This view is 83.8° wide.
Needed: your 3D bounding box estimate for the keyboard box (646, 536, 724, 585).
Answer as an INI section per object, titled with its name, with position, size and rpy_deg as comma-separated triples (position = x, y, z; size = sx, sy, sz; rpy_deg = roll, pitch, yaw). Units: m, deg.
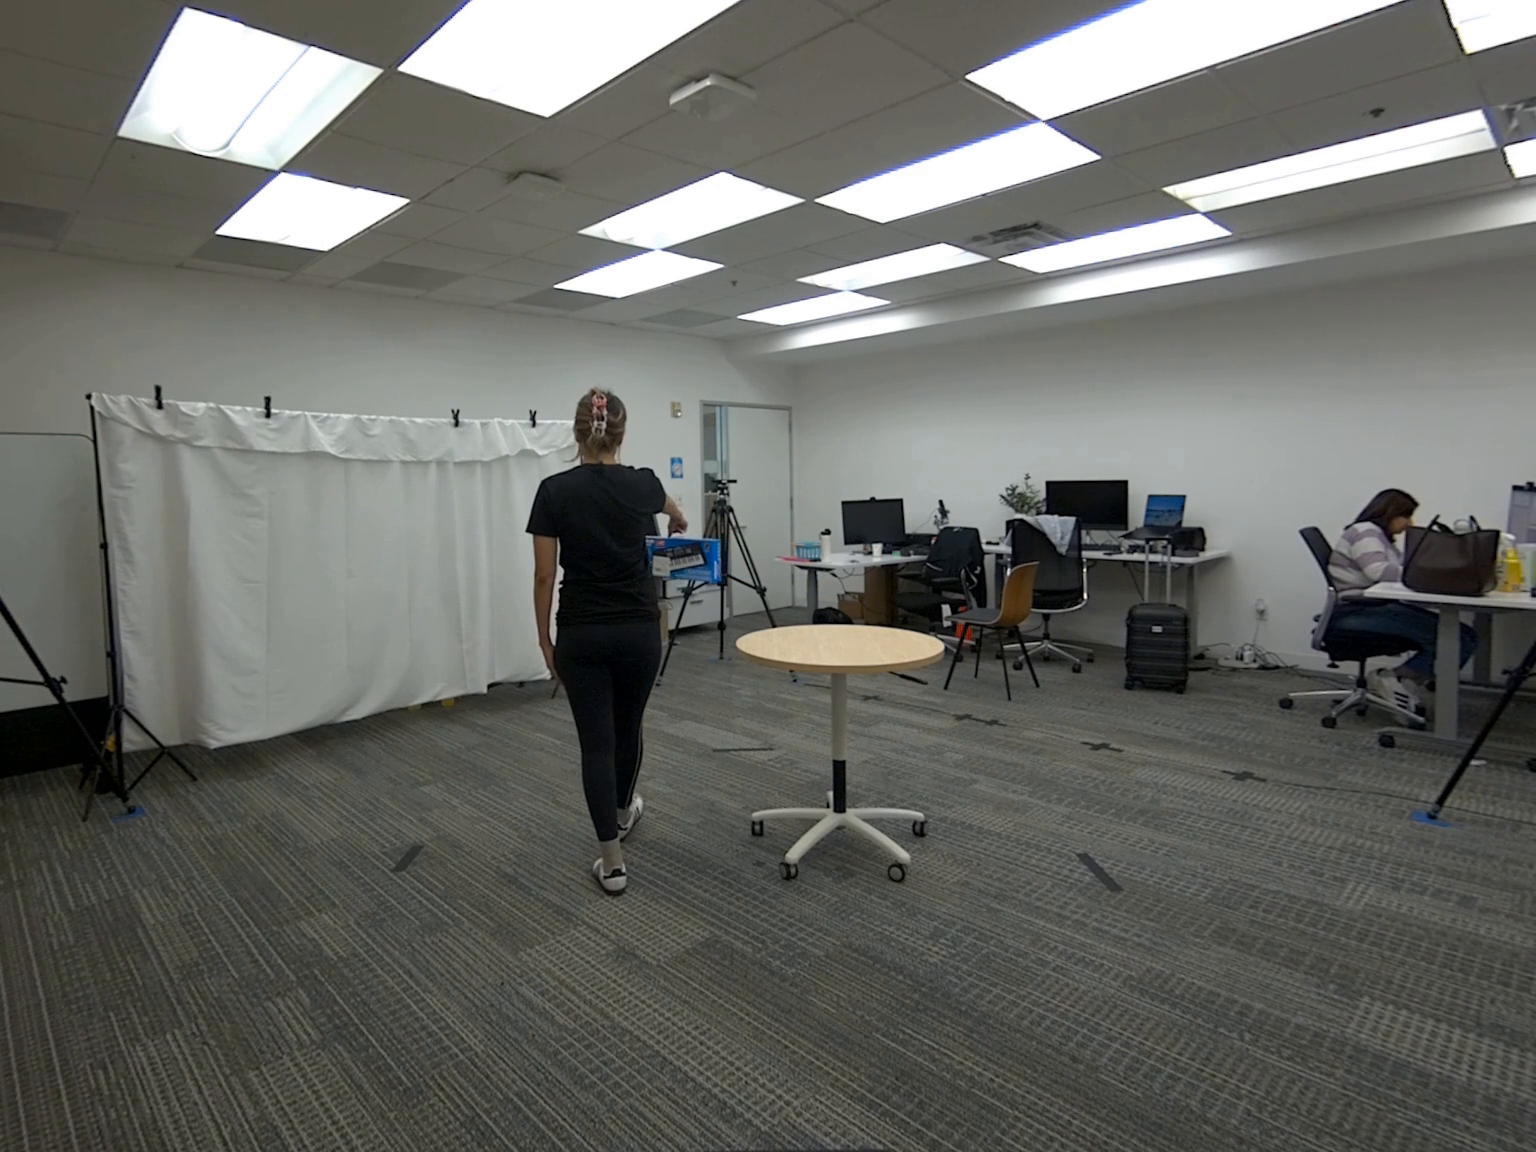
[keyboard box]
position = -0.380, -0.075, 3.628
size = 0.450, 0.175, 0.057
rpy_deg = 4, 5, 39
